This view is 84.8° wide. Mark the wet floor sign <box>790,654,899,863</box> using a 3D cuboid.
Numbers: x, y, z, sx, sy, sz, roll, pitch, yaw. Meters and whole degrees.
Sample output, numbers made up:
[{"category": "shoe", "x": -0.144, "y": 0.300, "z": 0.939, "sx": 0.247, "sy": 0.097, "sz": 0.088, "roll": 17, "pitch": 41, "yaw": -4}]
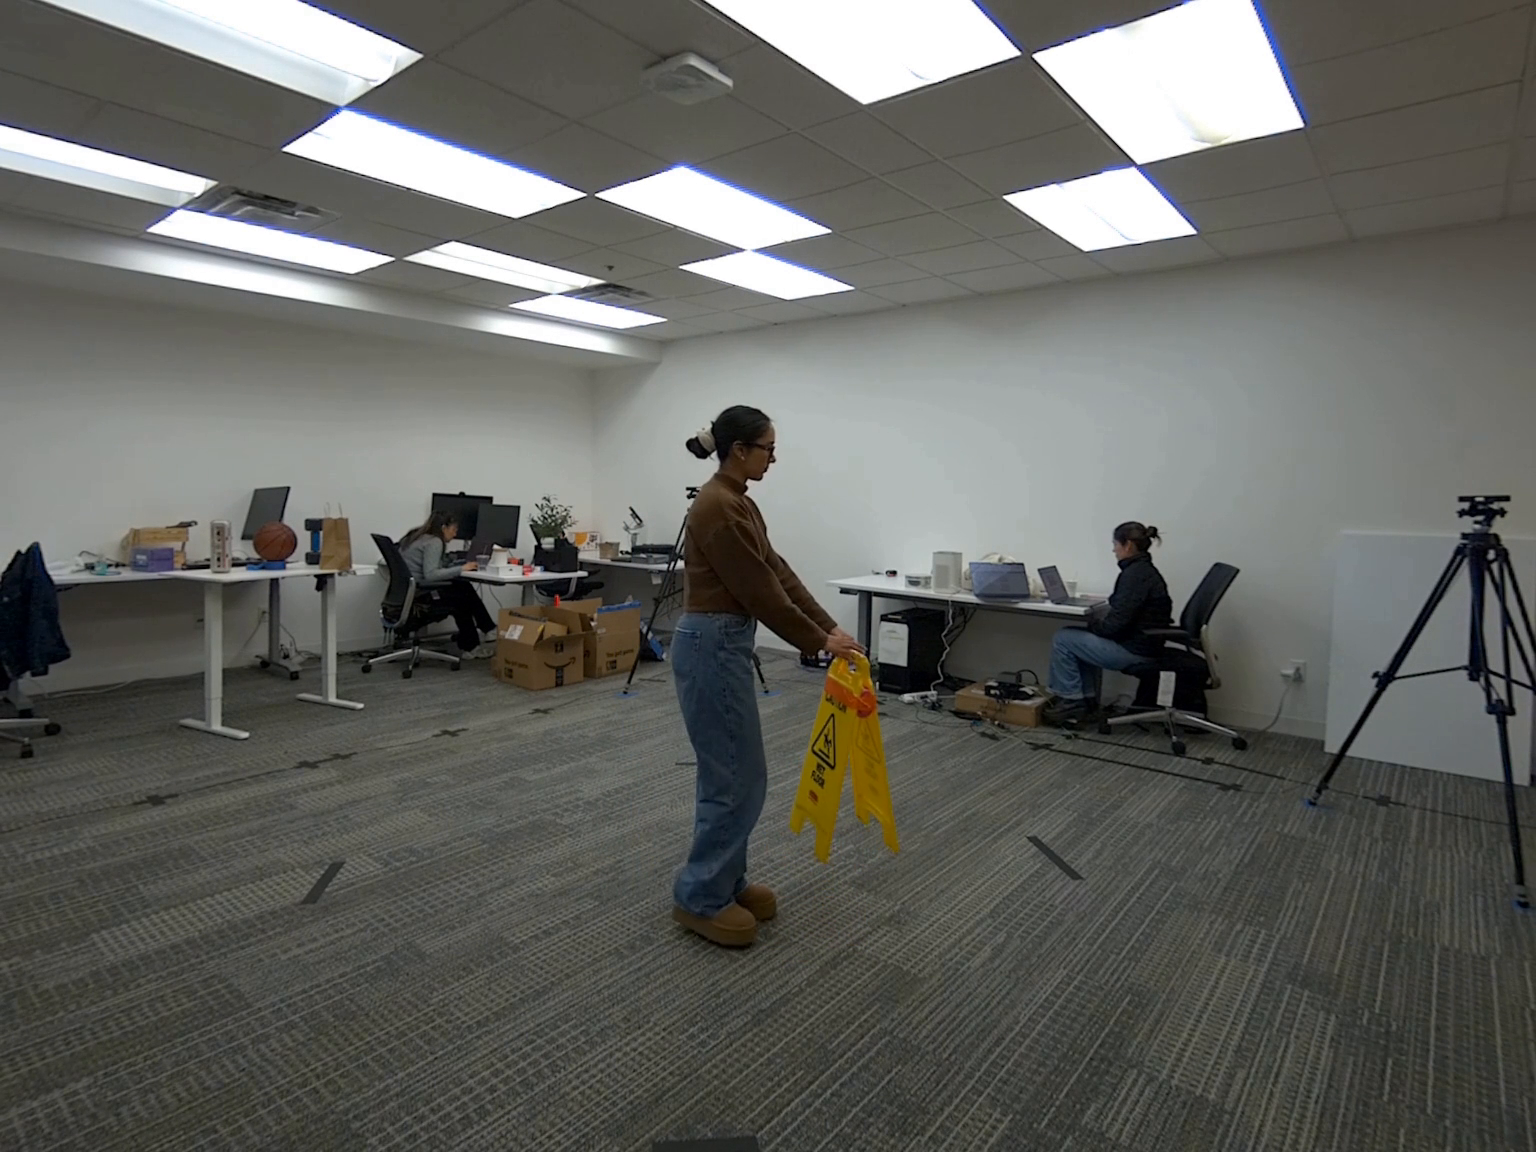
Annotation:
[{"category": "wet floor sign", "x": 0.251, "y": 0.558, "z": 2.800, "sx": 0.284, "sy": 0.643, "sz": 0.289, "roll": 0, "pitch": 6, "yaw": -20}]
